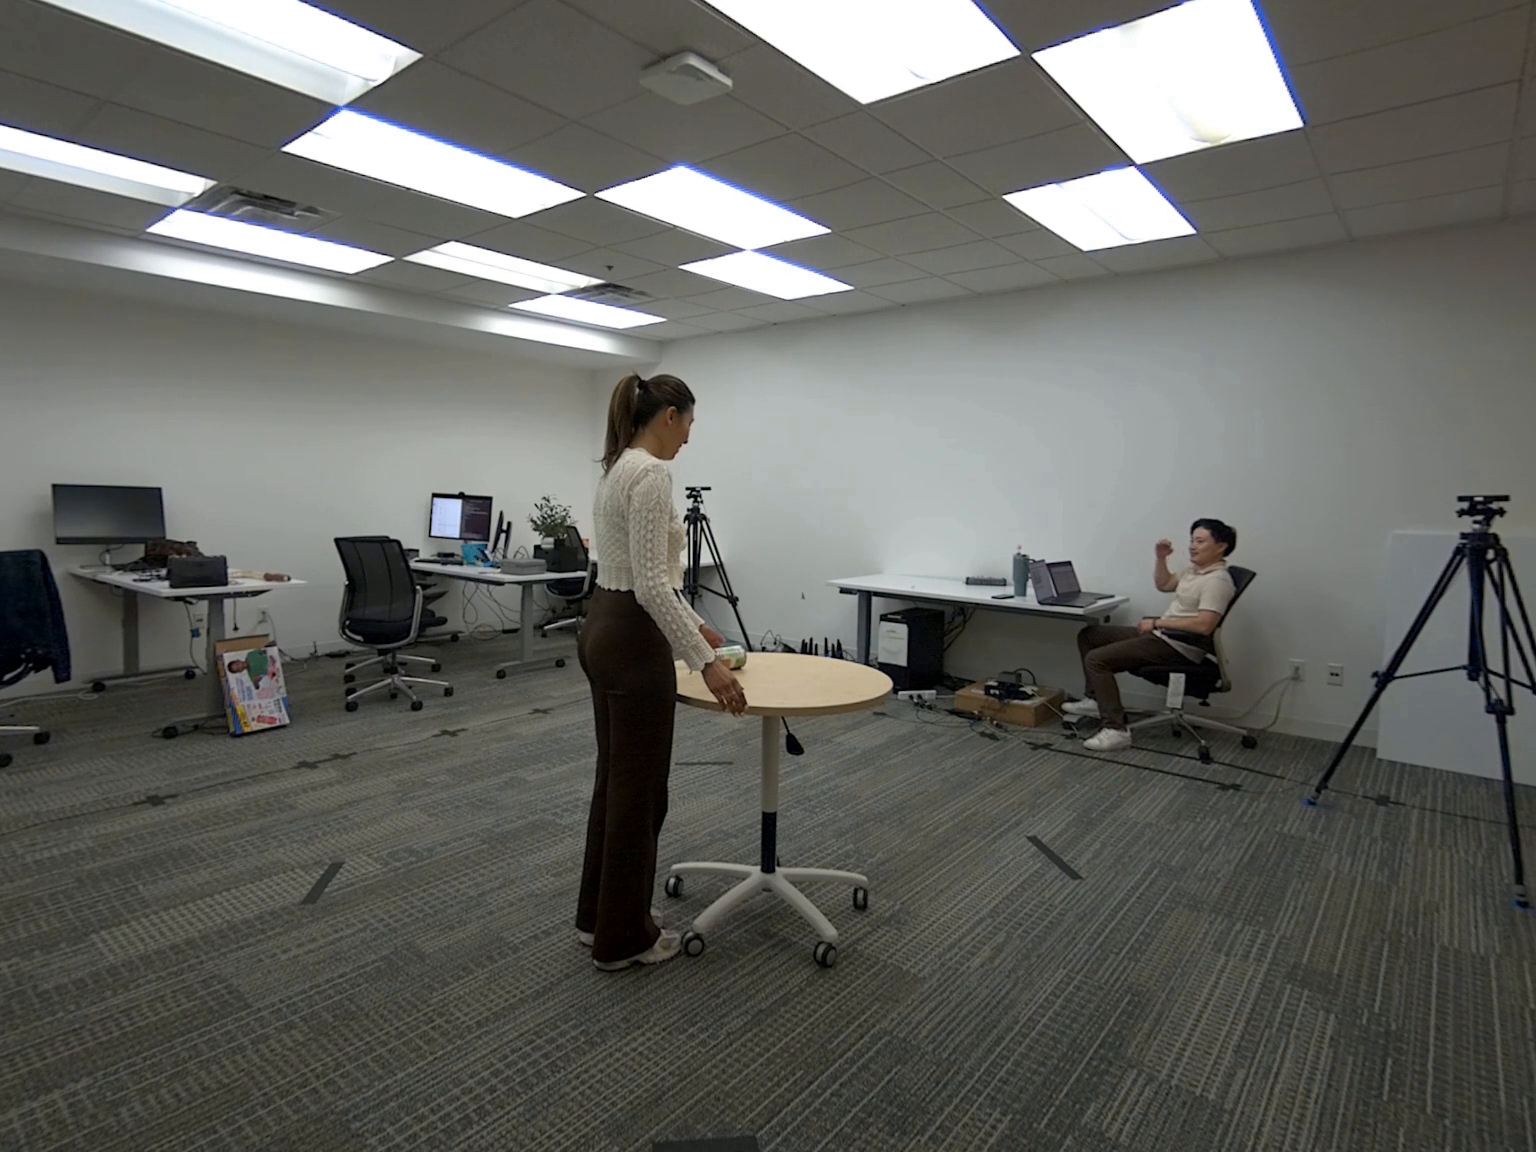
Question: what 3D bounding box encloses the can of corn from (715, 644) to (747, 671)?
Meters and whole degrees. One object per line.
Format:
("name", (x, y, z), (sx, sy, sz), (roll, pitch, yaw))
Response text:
("can of corn", (-0.136, 0.273, 2.827), (0.108, 0.074, 0.076), (-3, 5, -31))
